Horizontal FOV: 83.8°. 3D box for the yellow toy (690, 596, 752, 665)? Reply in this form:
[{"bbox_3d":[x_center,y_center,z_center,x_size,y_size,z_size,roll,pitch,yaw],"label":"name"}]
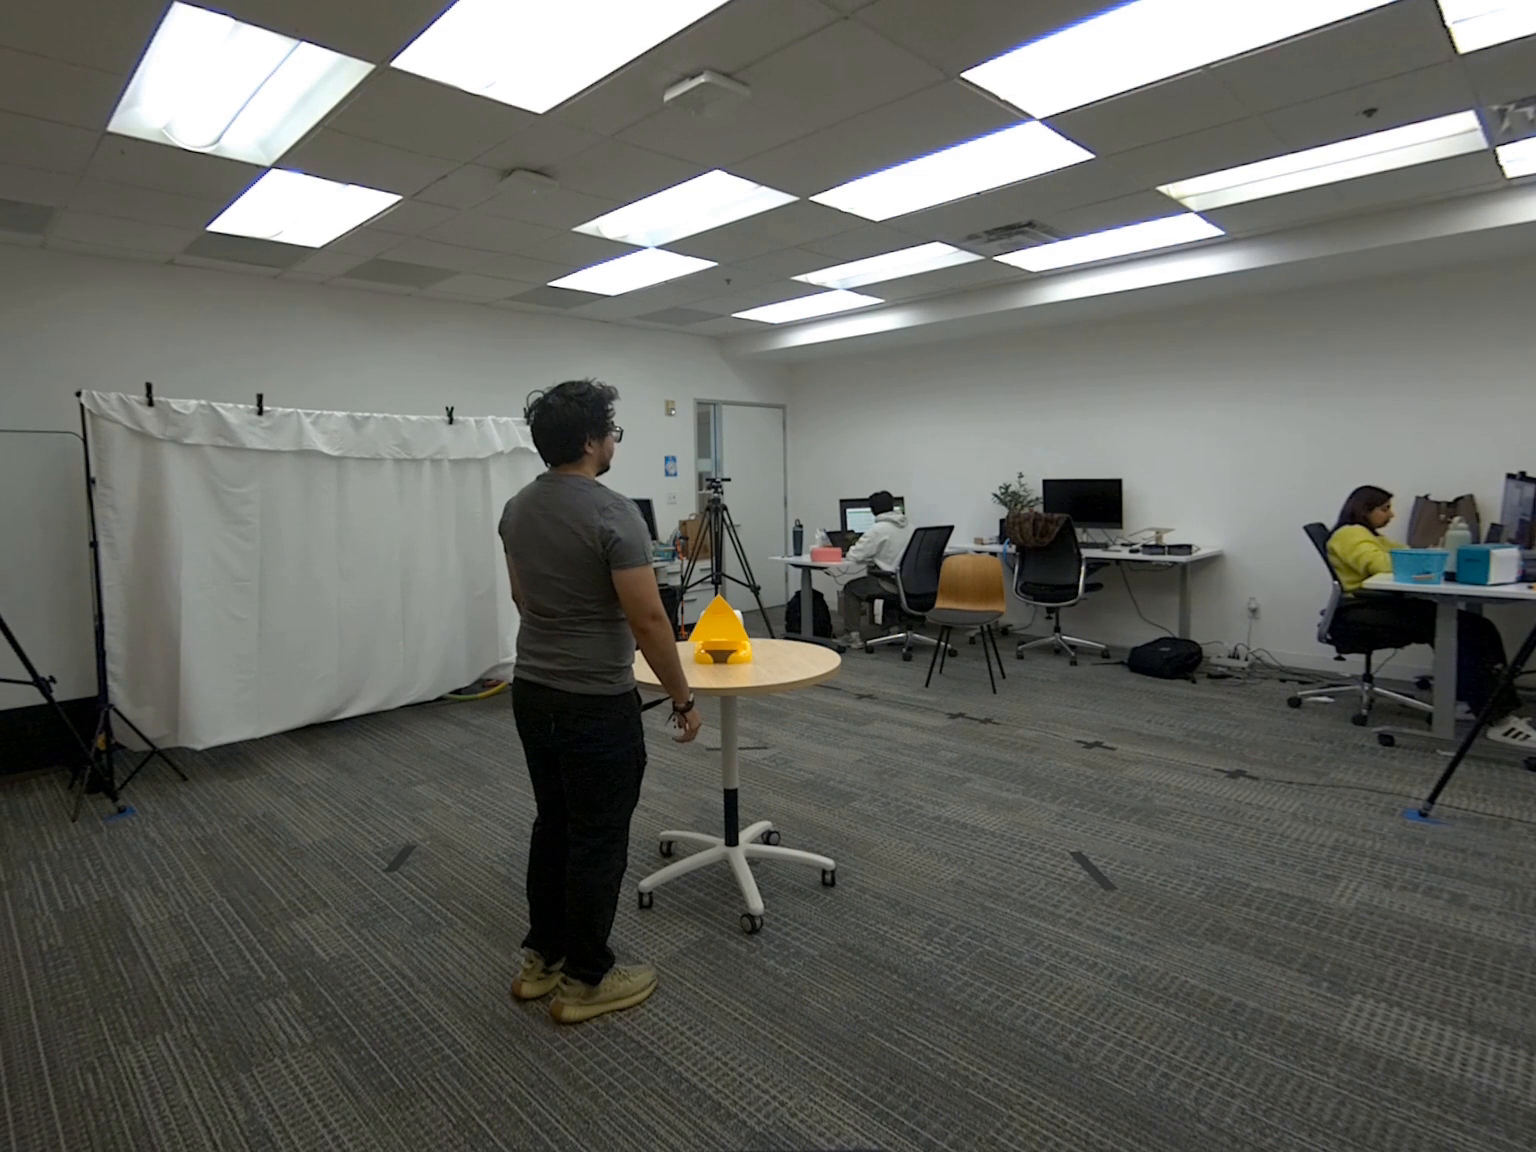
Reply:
[{"bbox_3d":[-0.154,0.169,2.910,0.206,0.230,0.192,-1,5,6],"label":"yellow toy"}]
